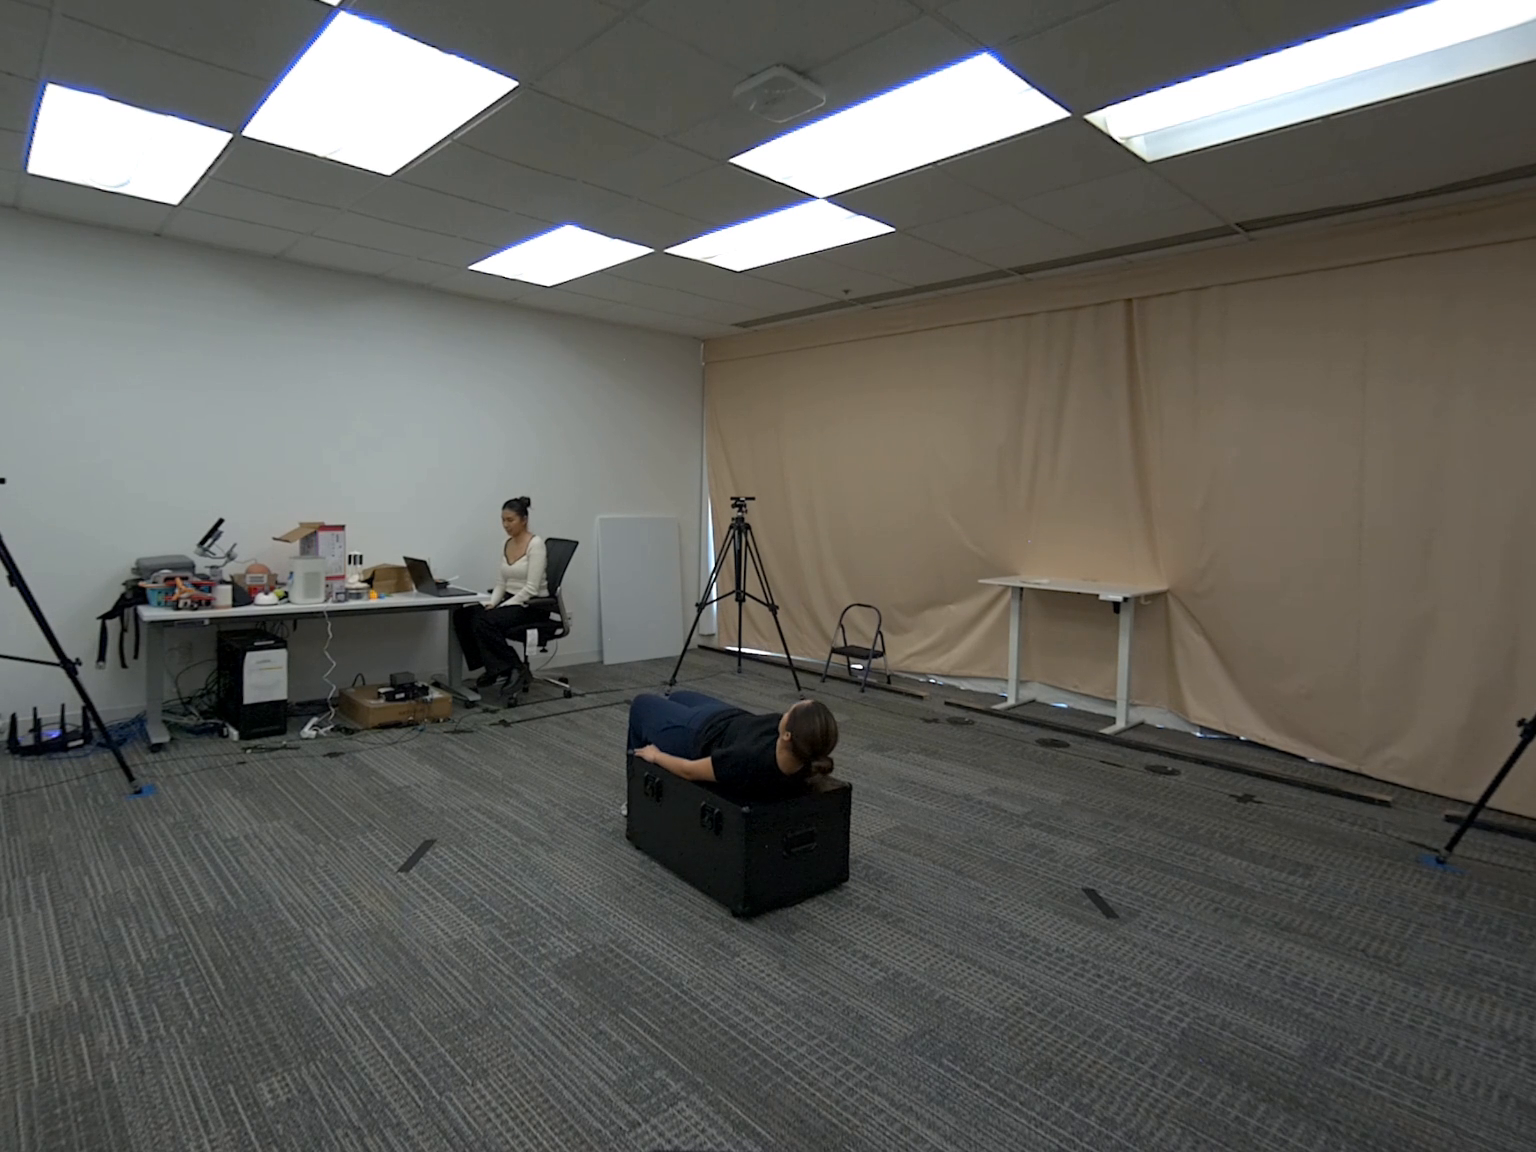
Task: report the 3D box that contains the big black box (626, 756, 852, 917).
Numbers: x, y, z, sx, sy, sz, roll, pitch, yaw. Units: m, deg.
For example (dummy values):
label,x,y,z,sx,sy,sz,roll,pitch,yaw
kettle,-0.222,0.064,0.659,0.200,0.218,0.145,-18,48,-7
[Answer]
label,x,y,z,sx,sy,sz,roll,pitch,yaw
big black box,-0.122,0.922,3.149,0.510,0.395,0.882,-2,5,-38
